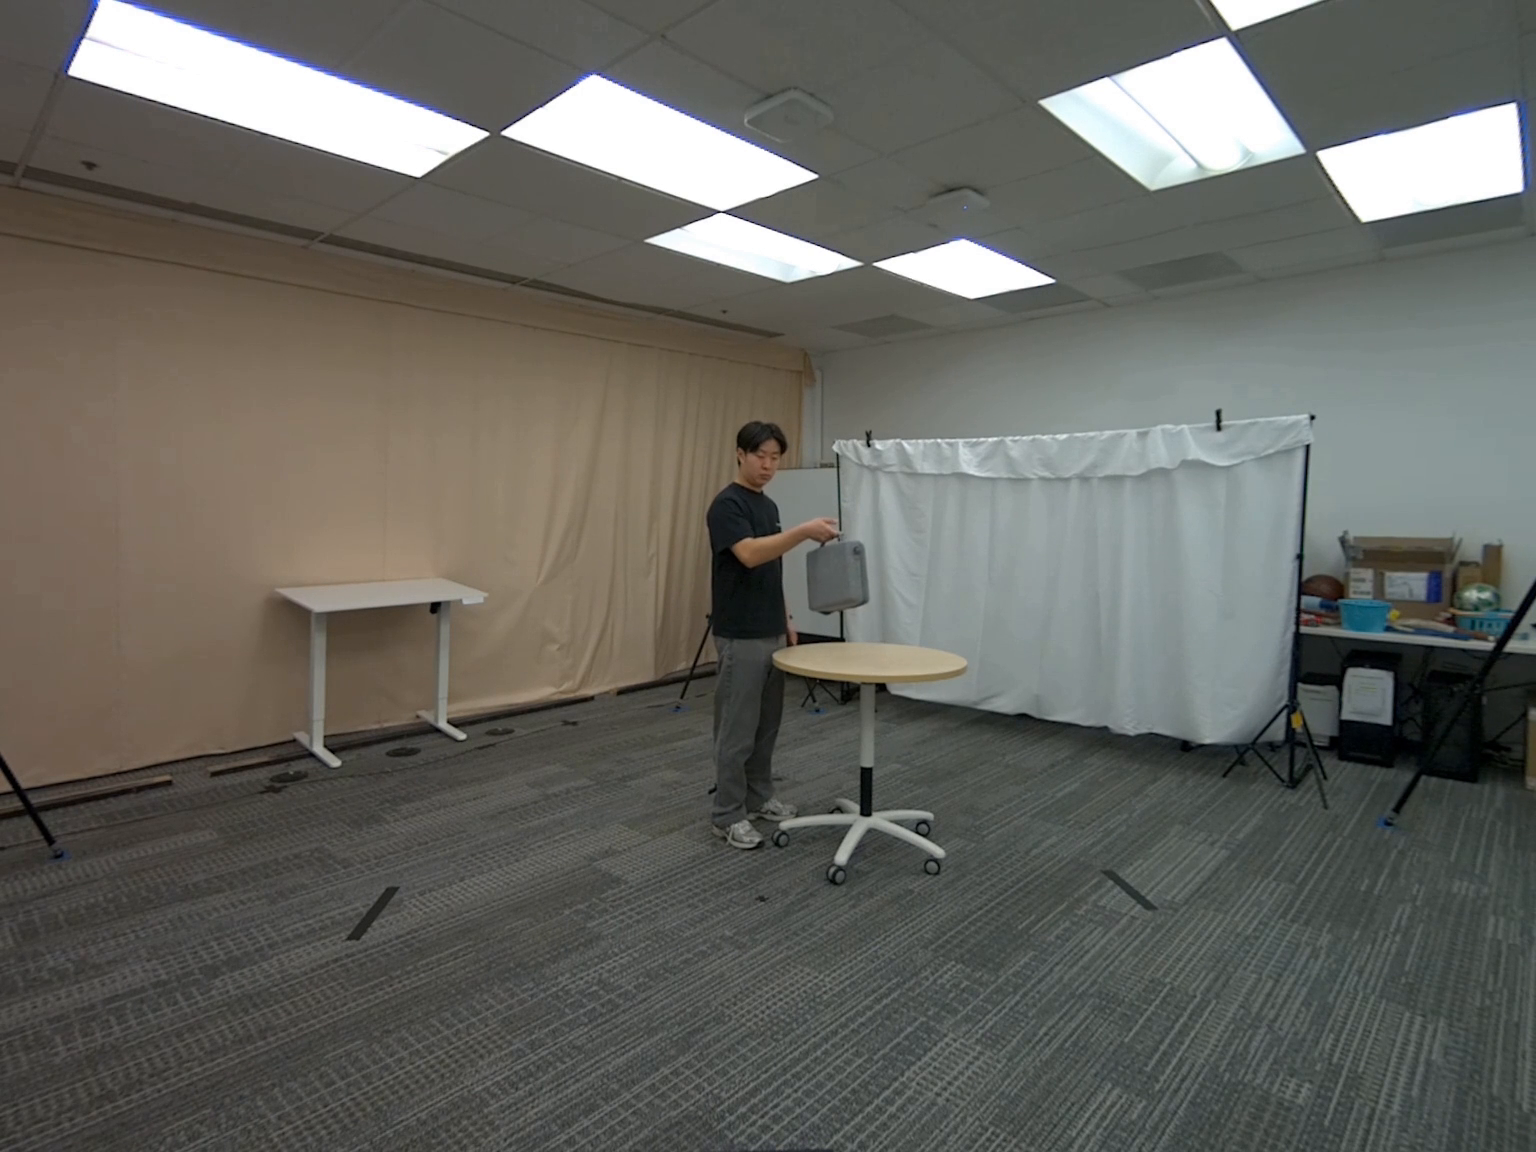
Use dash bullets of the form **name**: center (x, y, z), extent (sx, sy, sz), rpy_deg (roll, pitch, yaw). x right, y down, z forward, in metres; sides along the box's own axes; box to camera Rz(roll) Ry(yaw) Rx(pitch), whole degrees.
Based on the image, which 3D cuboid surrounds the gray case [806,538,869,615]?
- **gray case**: center (0.272, -0.005, 3.264), extent (0.100, 0.289, 0.269), rpy_deg (6, -15, -38)
